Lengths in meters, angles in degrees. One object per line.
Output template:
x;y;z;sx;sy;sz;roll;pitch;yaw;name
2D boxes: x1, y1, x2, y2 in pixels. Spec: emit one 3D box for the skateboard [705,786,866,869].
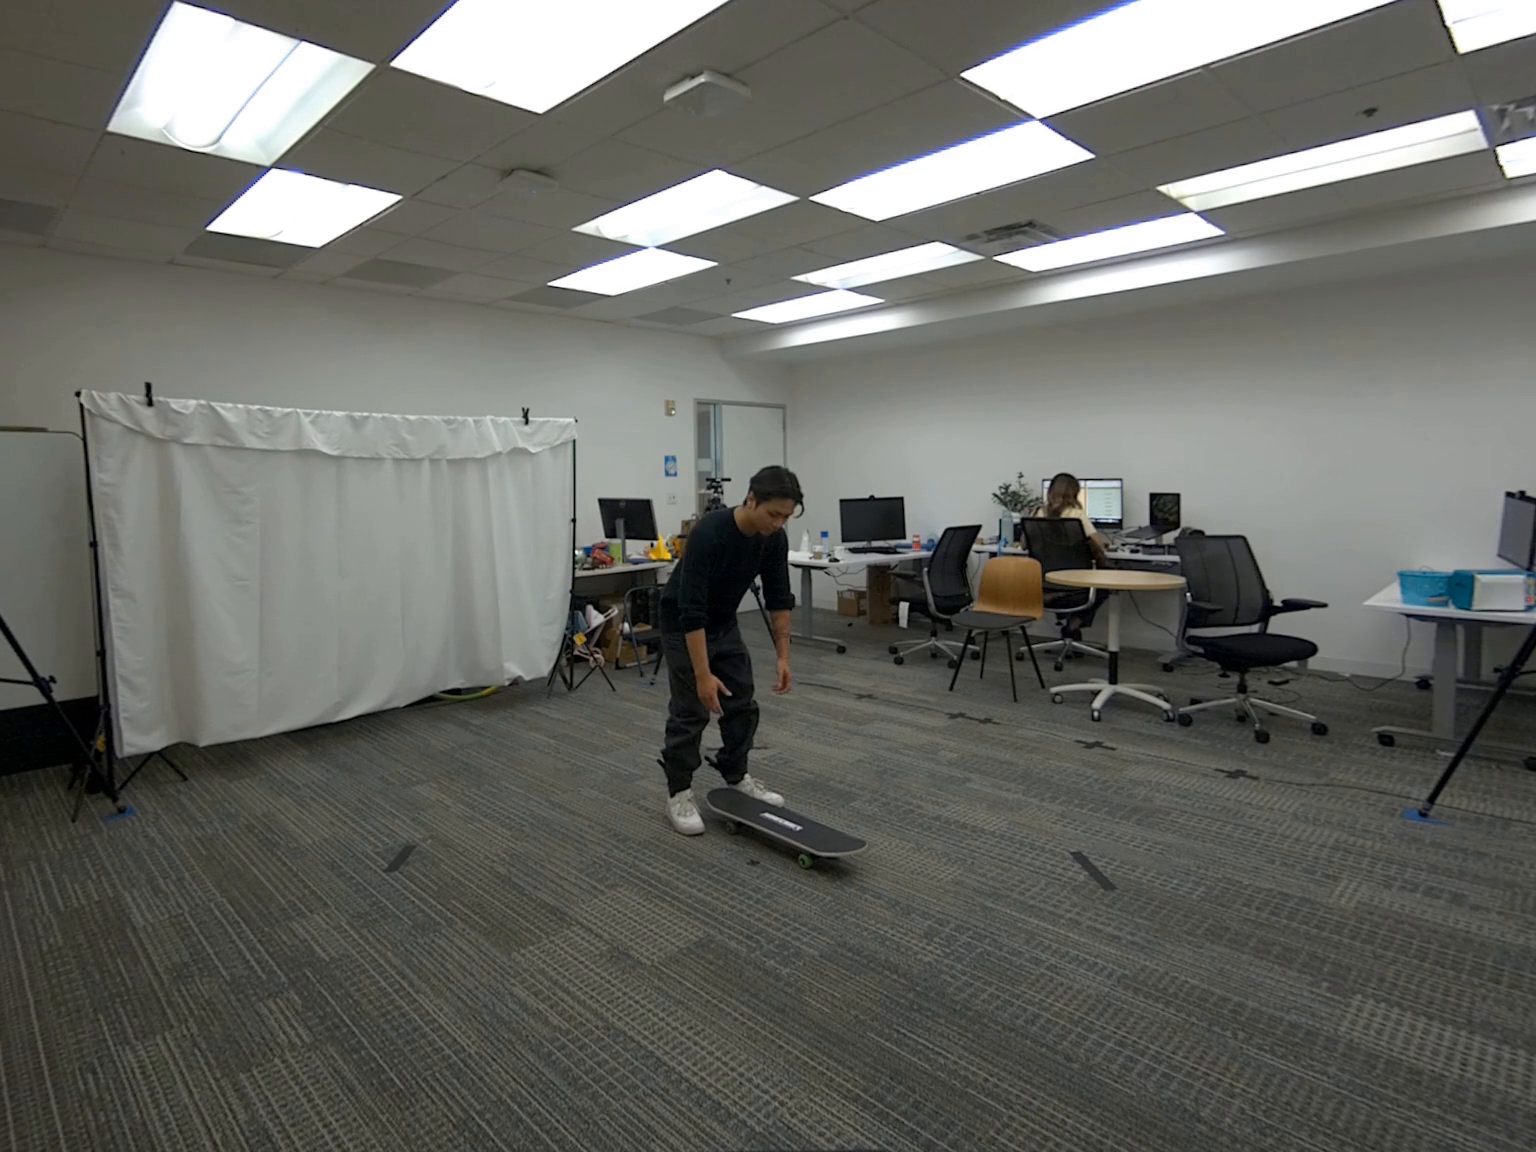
0.054;0.971;3.252;0.188;0.110;0.809;-7;8;-42;skateboard
